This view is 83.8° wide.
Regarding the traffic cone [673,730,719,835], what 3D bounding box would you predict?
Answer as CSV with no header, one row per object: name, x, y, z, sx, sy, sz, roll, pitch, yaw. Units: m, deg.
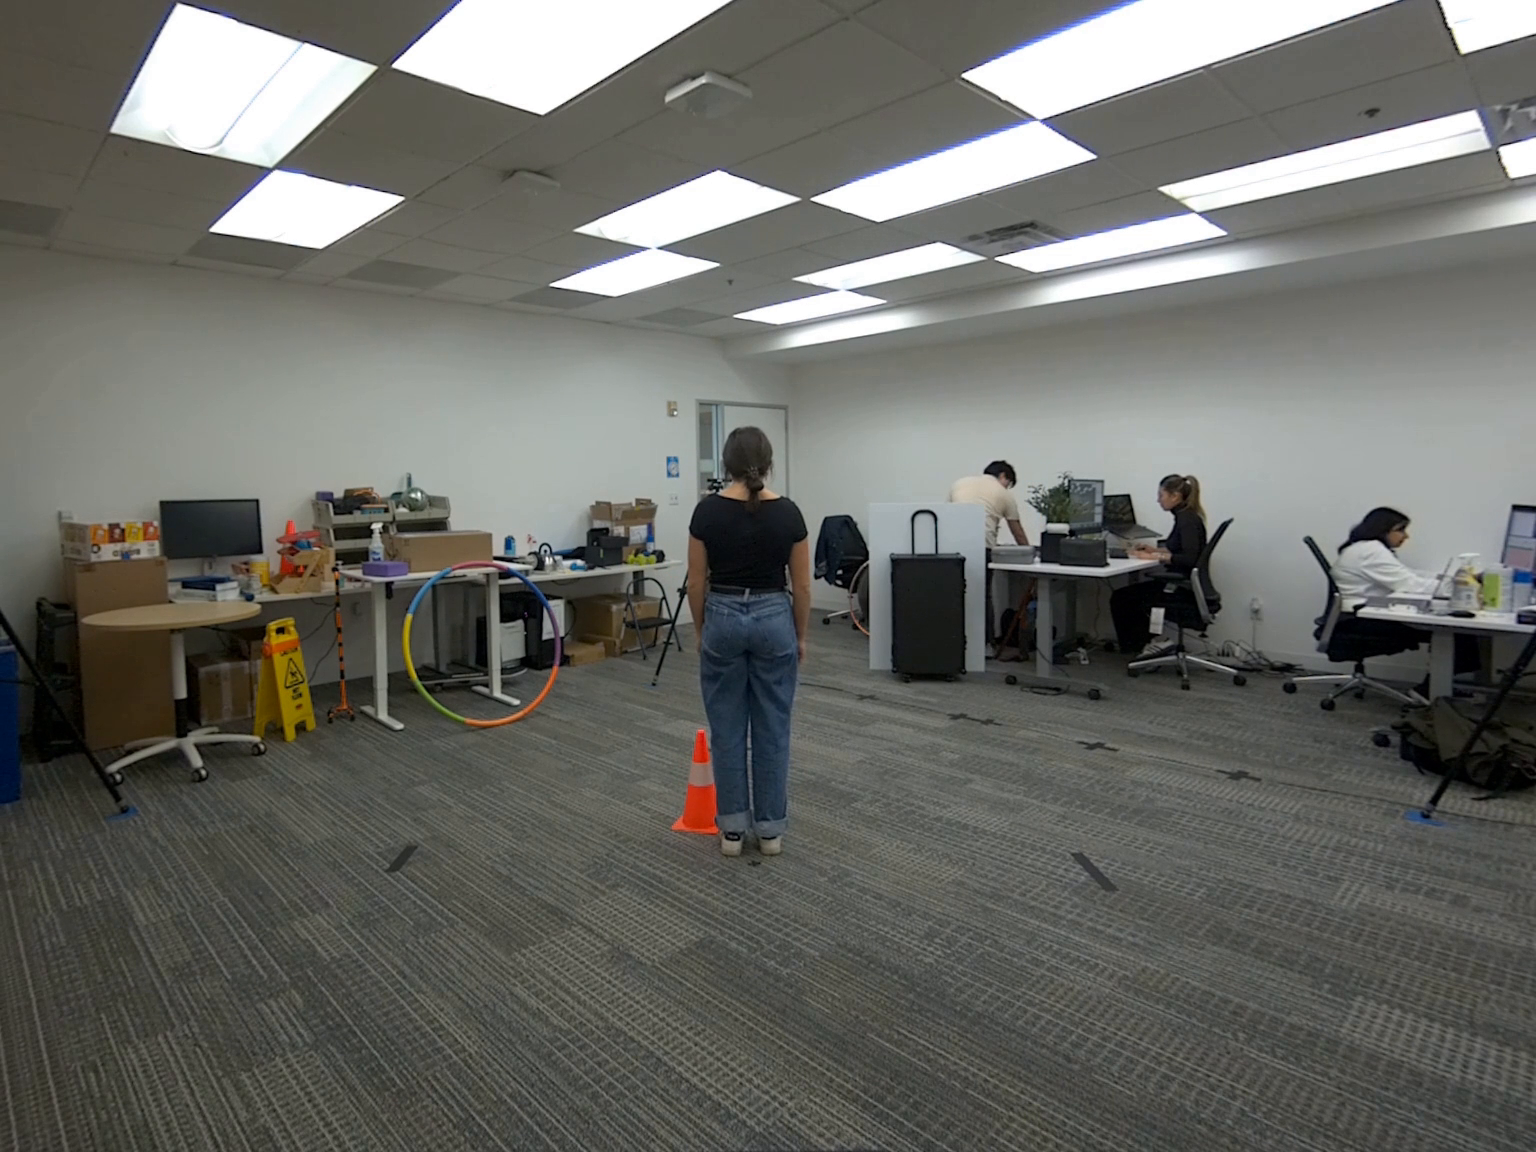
traffic cone,-0.266,0.819,3.485,0.209,0.382,0.200,0,5,18
